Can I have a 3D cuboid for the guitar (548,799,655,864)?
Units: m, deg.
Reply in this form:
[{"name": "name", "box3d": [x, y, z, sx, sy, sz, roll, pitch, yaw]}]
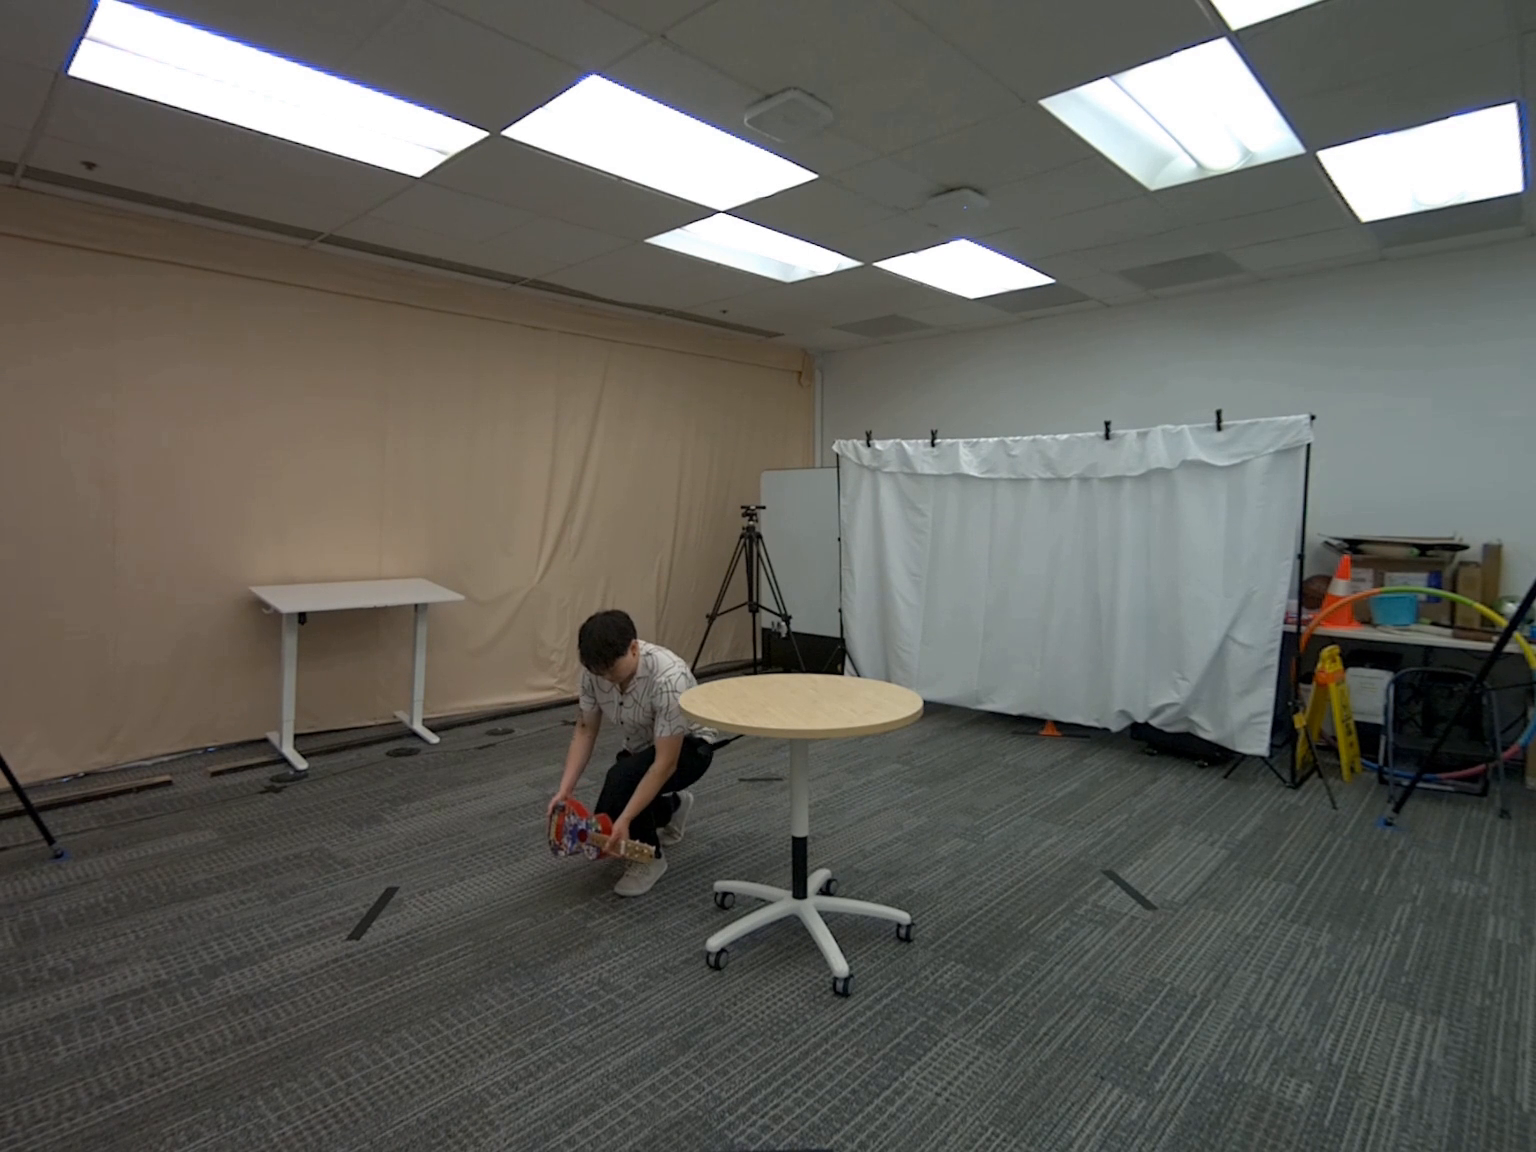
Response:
[{"name": "guitar", "box3d": [-0.574, 0.924, 2.888, 0.515, 0.193, 0.068, 13, -1, 38]}]
